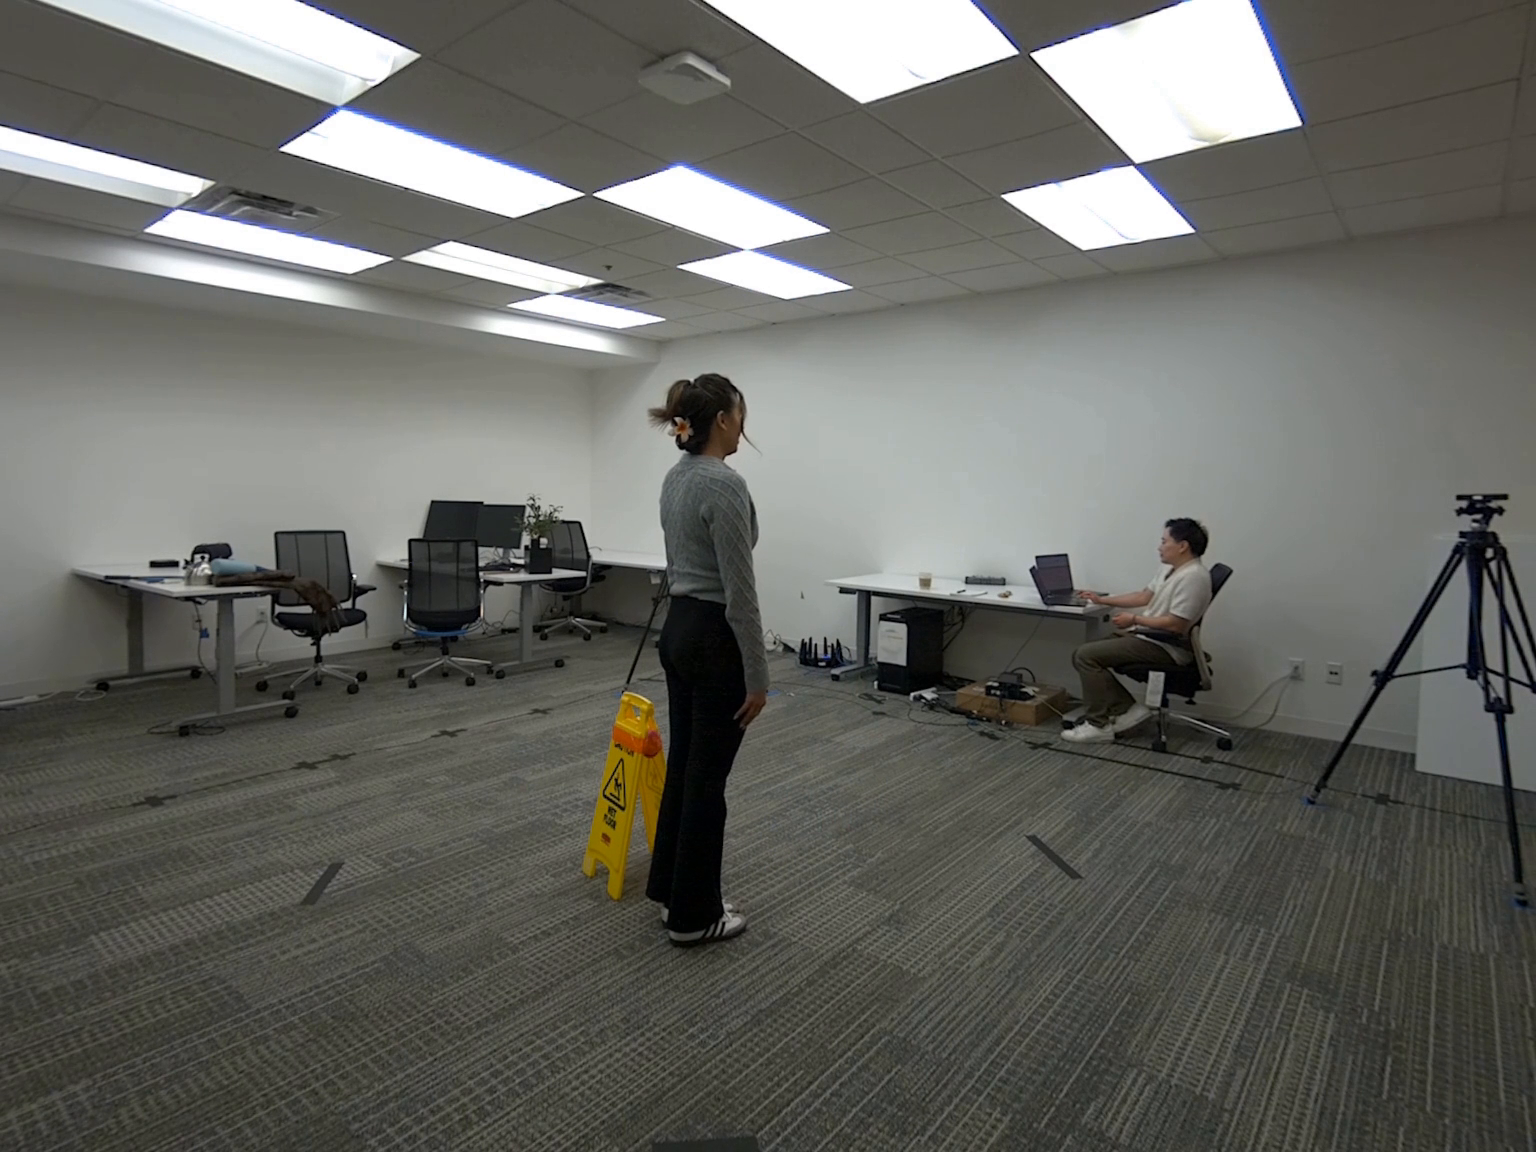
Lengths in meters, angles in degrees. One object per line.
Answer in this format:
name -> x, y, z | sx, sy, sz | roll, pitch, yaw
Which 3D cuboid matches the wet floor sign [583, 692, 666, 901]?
wet floor sign -> -0.478, 0.746, 3.027 | 0.281, 0.644, 0.291 | -1, 4, -36
